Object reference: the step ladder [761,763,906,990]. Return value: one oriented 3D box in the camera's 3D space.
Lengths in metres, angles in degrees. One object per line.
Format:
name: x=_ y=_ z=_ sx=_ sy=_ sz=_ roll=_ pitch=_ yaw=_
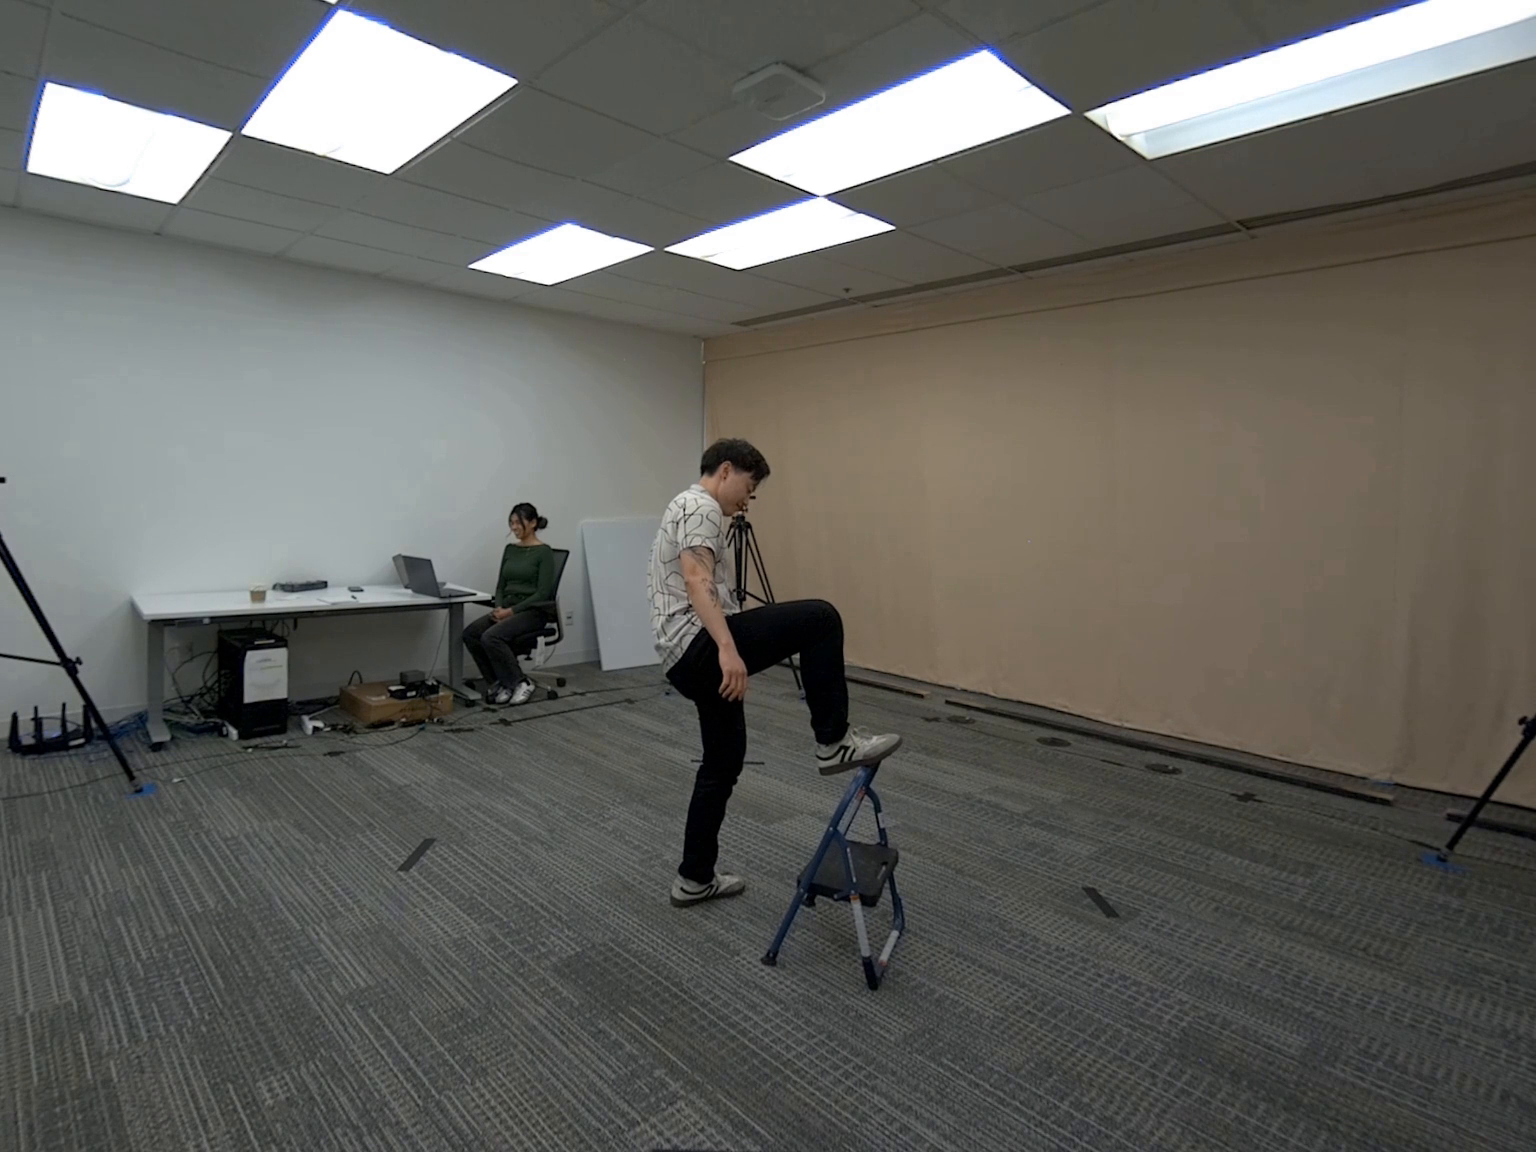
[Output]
step ladder: x=0.228 y=0.851 z=2.614 sx=0.355 sy=0.604 sz=0.425 roll=4 pitch=5 yaw=21
